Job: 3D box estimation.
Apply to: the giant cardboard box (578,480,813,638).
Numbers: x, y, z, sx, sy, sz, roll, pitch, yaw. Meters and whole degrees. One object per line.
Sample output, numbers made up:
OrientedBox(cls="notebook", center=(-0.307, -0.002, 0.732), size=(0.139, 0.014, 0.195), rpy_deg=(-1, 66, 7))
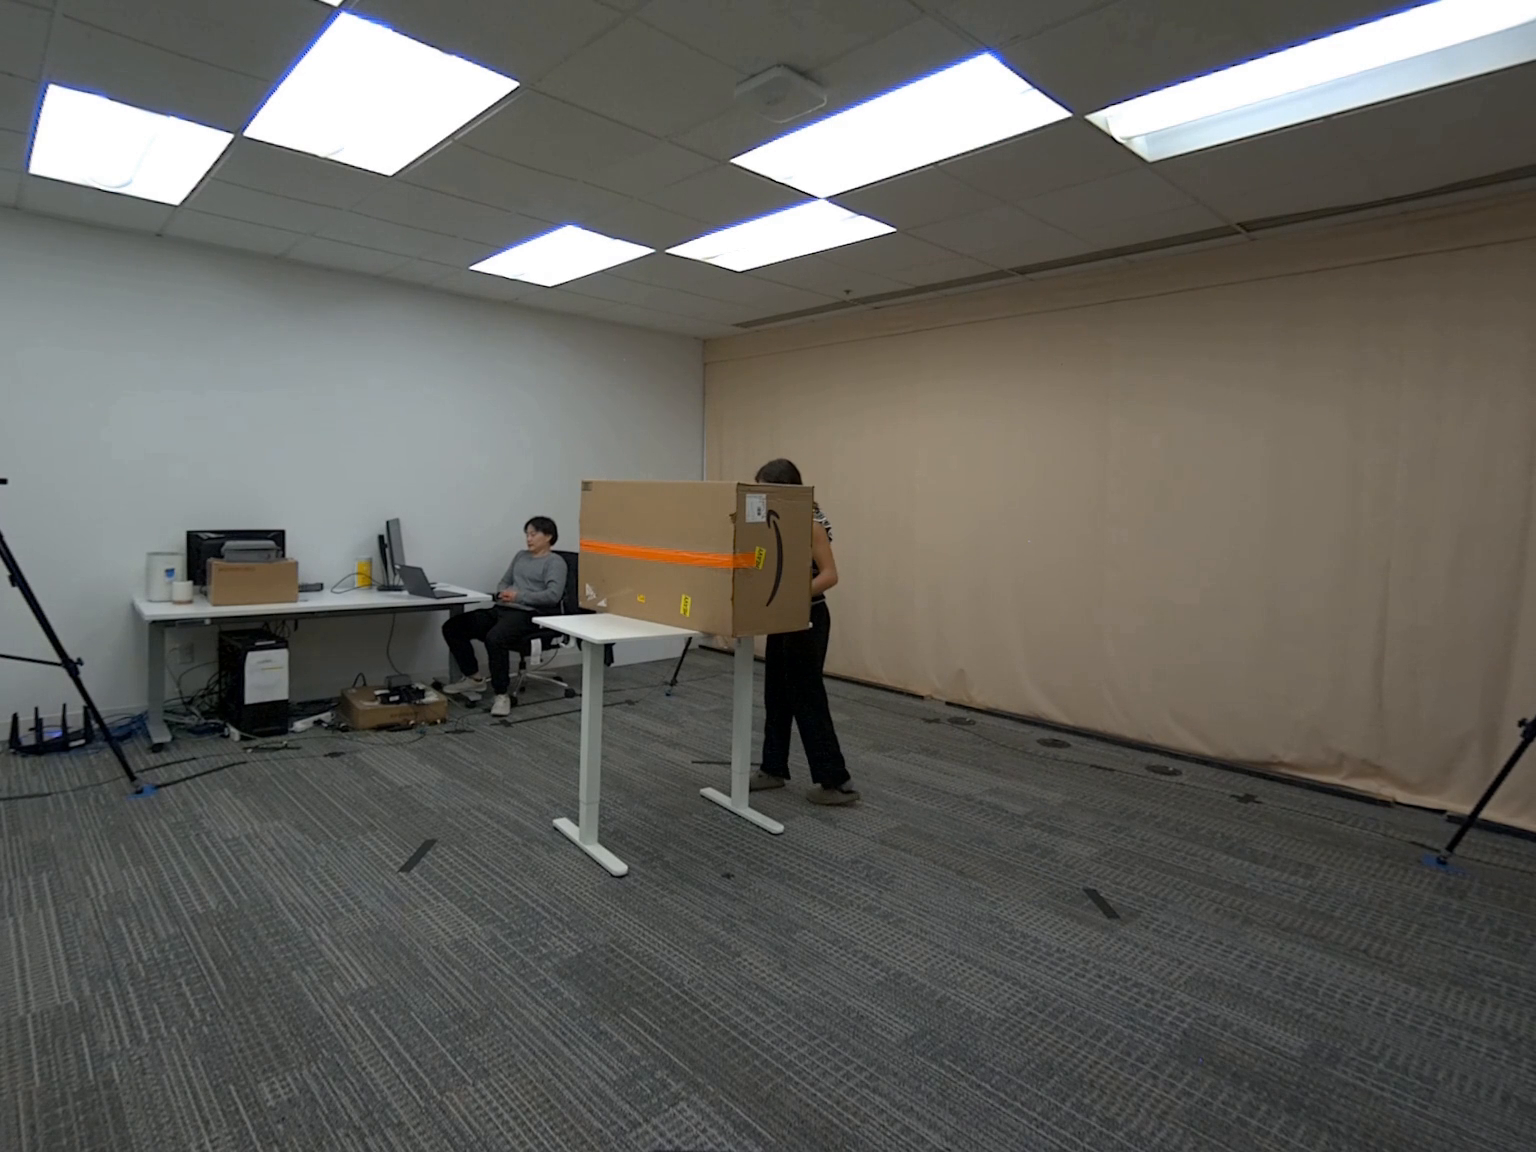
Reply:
OrientedBox(cls="giant cardboard box", center=(-0.346, -0.108, 3.564), size=(0.416, 0.576, 1.052), rpy_deg=(-2, 6, -44))
